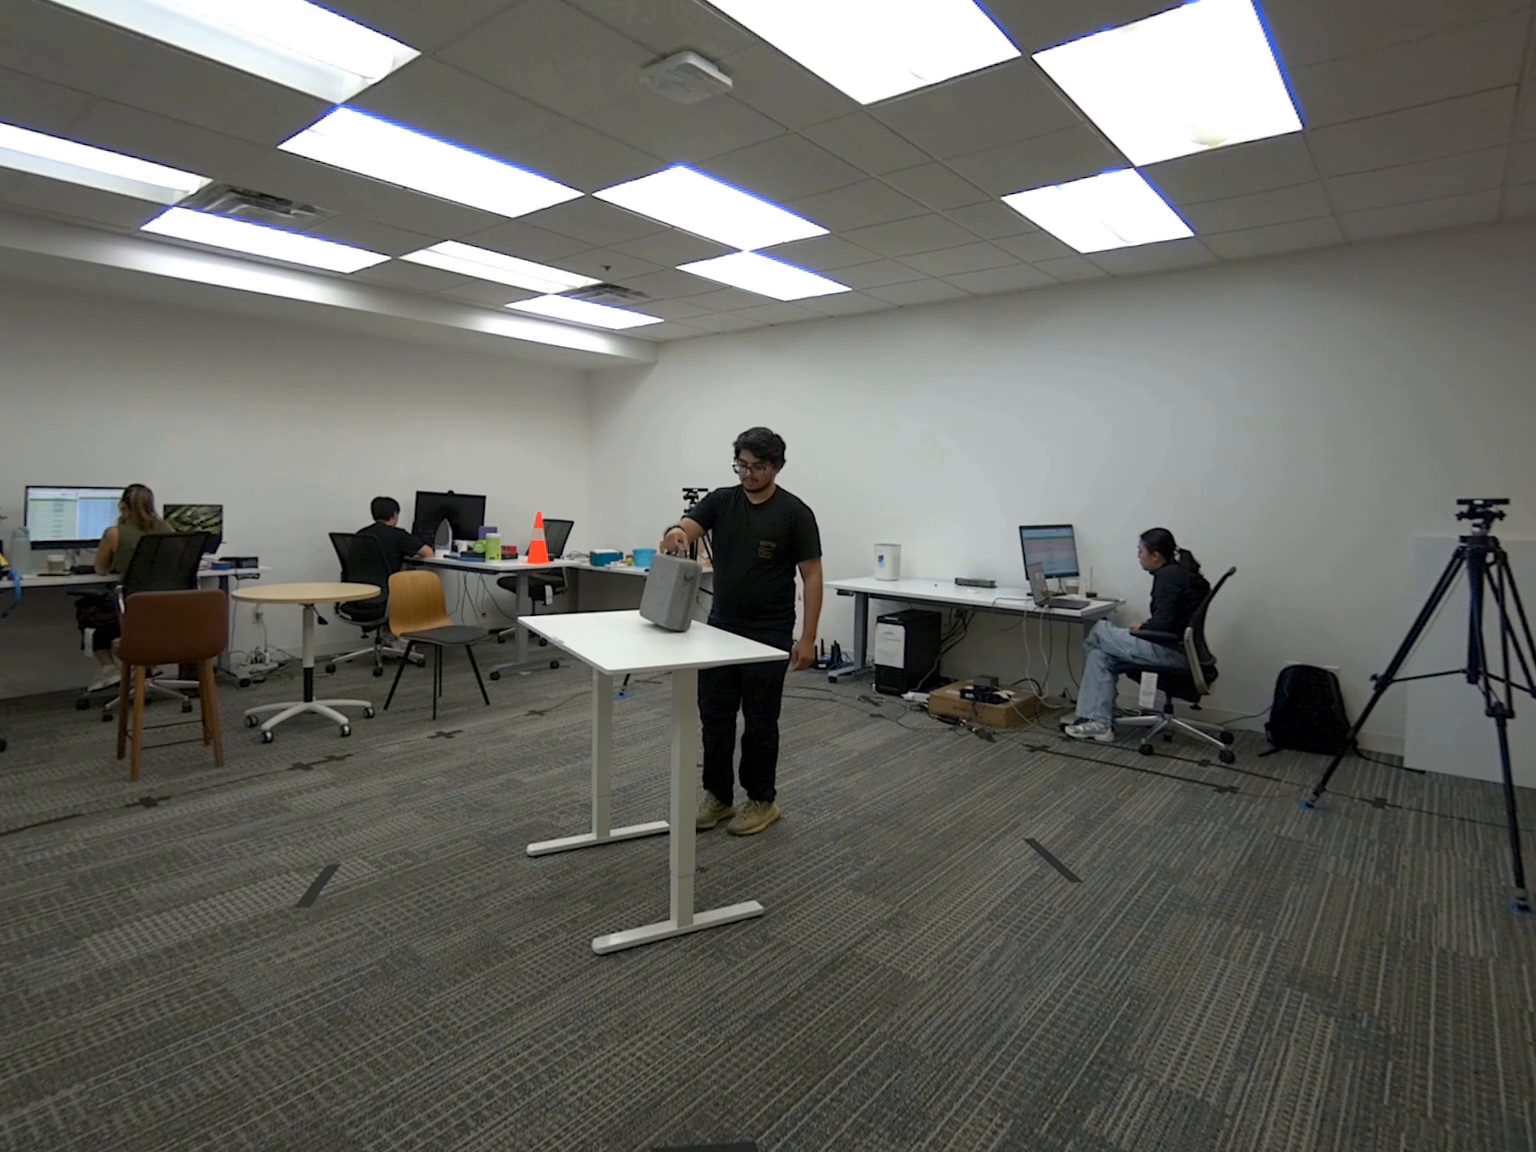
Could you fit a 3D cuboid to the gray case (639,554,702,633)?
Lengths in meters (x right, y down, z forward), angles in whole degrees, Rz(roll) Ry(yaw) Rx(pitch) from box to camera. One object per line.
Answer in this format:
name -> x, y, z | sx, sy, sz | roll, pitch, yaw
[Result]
gray case -> -0.361, 0.048, 3.077 | 0.101, 0.261, 0.265 | 10, 0, -32
